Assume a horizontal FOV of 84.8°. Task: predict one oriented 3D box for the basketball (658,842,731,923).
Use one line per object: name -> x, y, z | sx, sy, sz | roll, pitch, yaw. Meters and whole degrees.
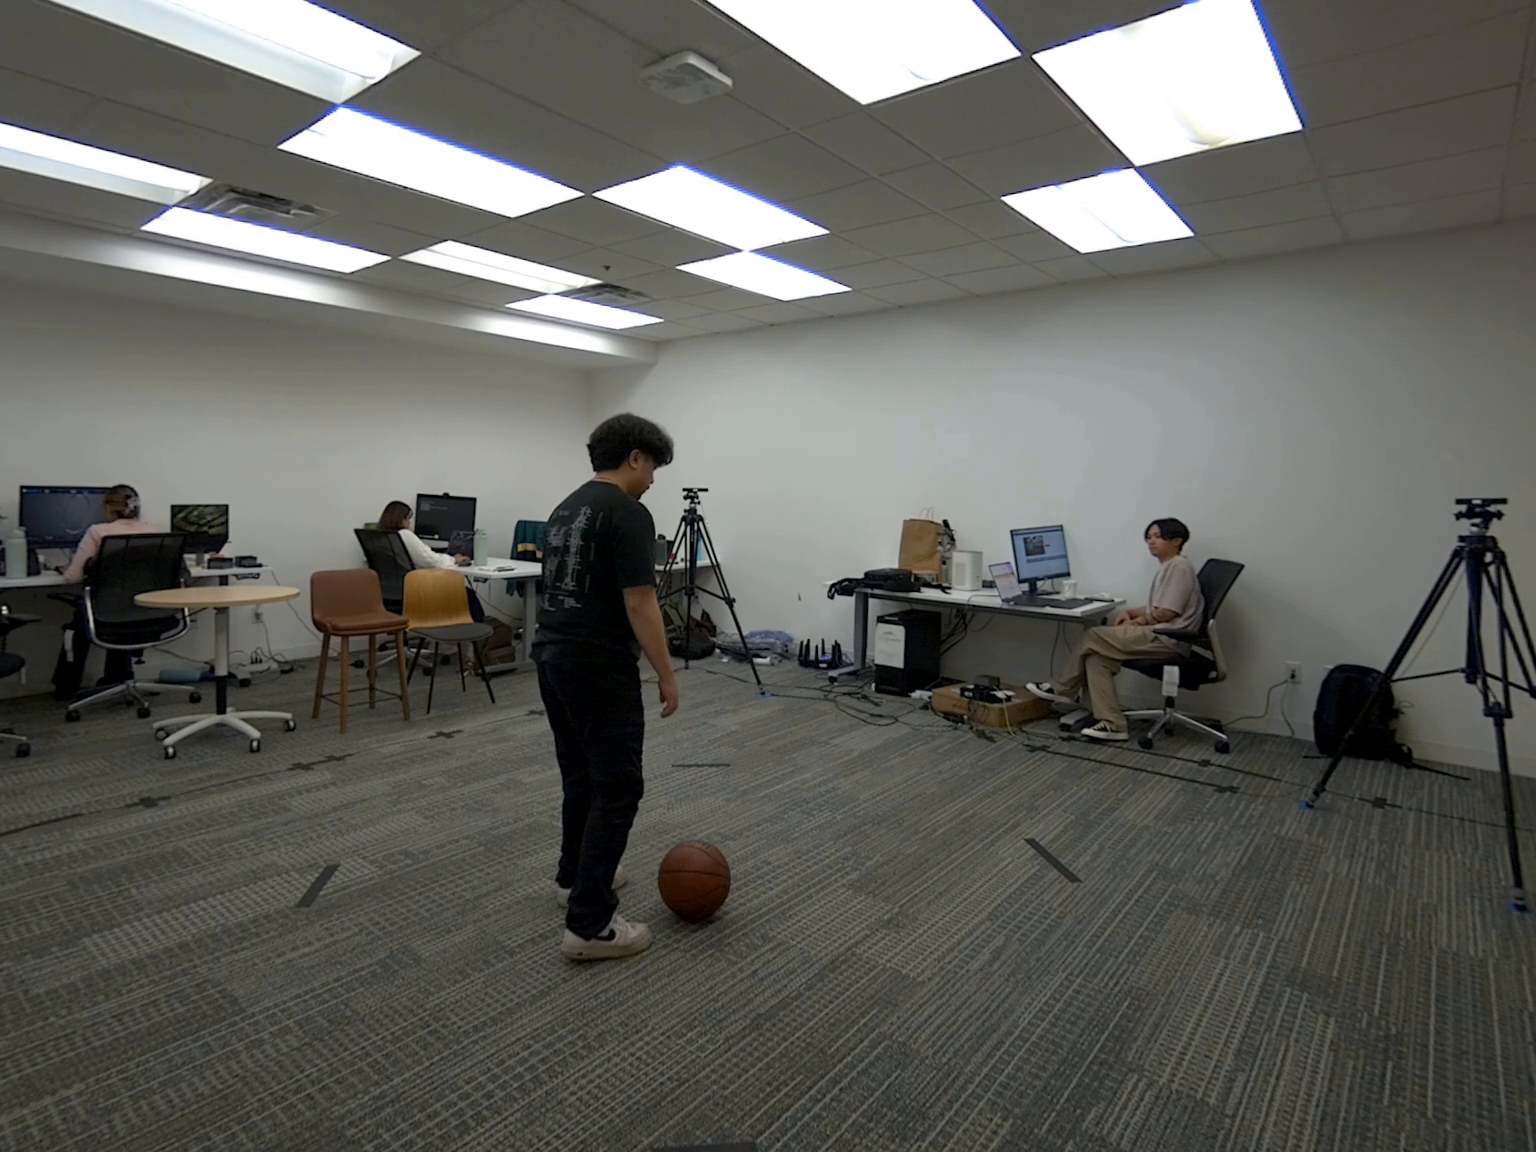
basketball -> -0.249, 0.982, 2.769 | 0.235, 0.235, 0.237 | 1, 4, -2
